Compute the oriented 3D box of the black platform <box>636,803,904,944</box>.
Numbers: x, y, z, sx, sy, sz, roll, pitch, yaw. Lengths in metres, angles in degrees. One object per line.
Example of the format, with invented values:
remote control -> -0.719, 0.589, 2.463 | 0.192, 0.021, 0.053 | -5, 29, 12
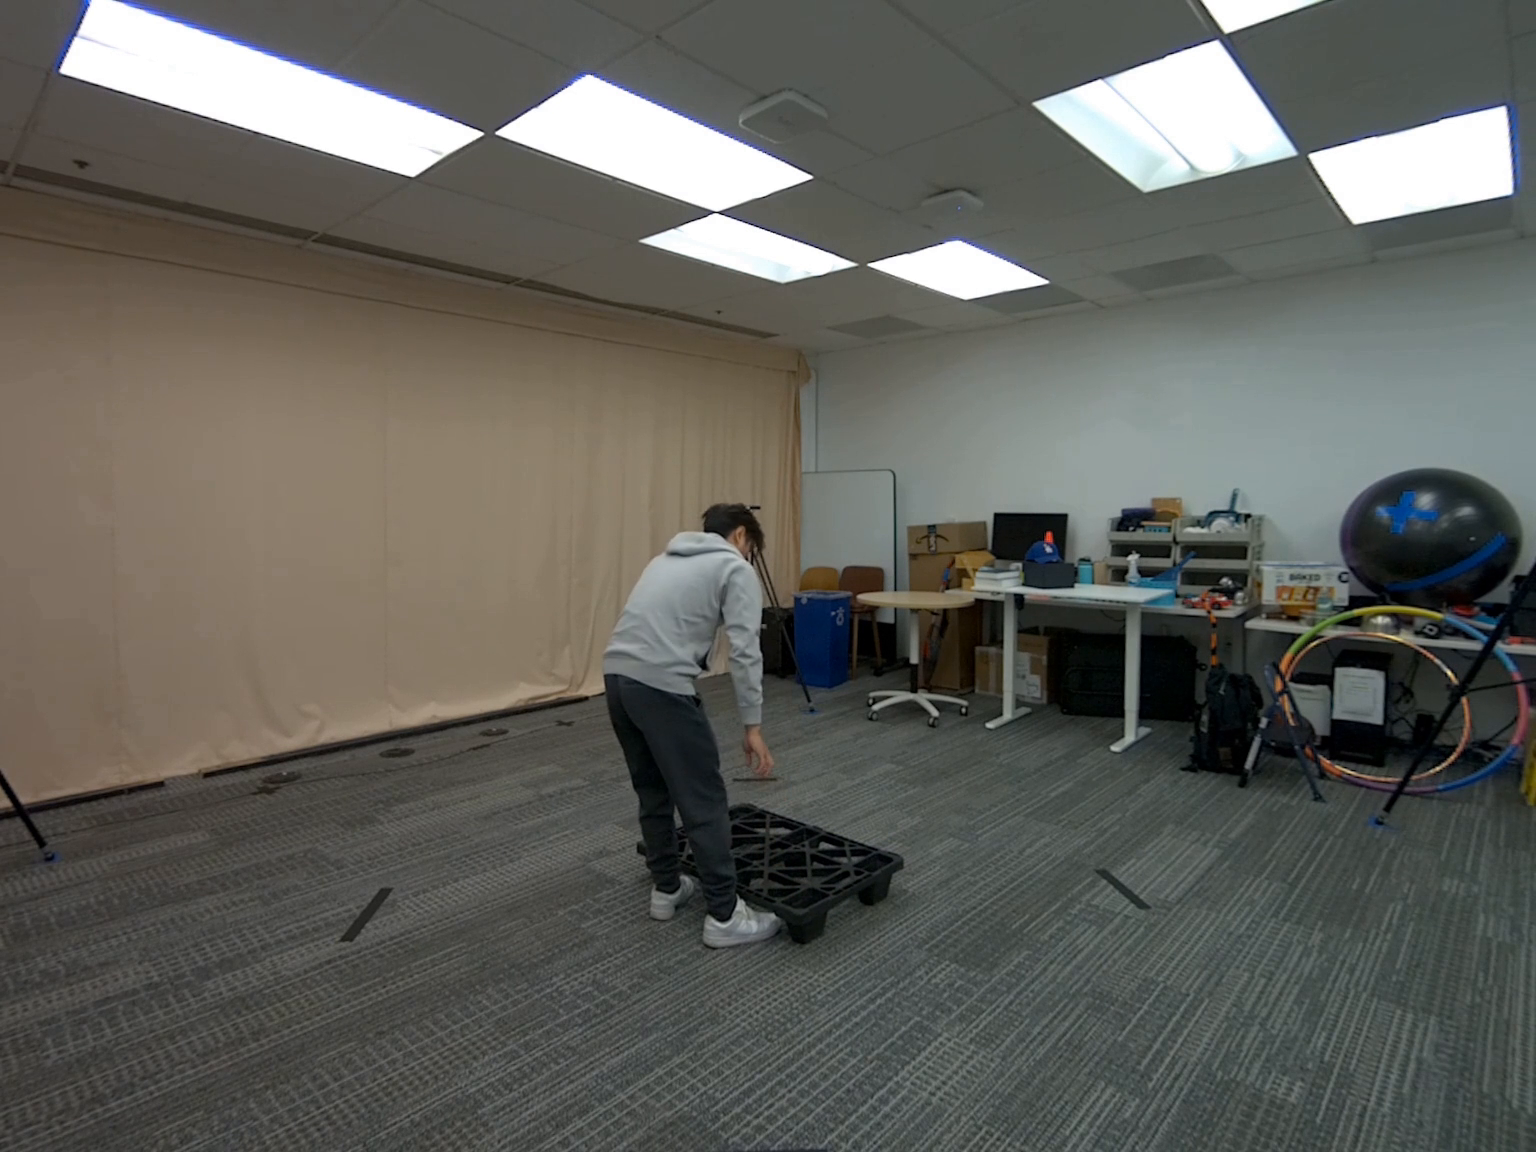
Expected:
black platform -> 0.002, 1.073, 3.081 | 0.832, 0.143, 0.587 | 4, 7, 43
